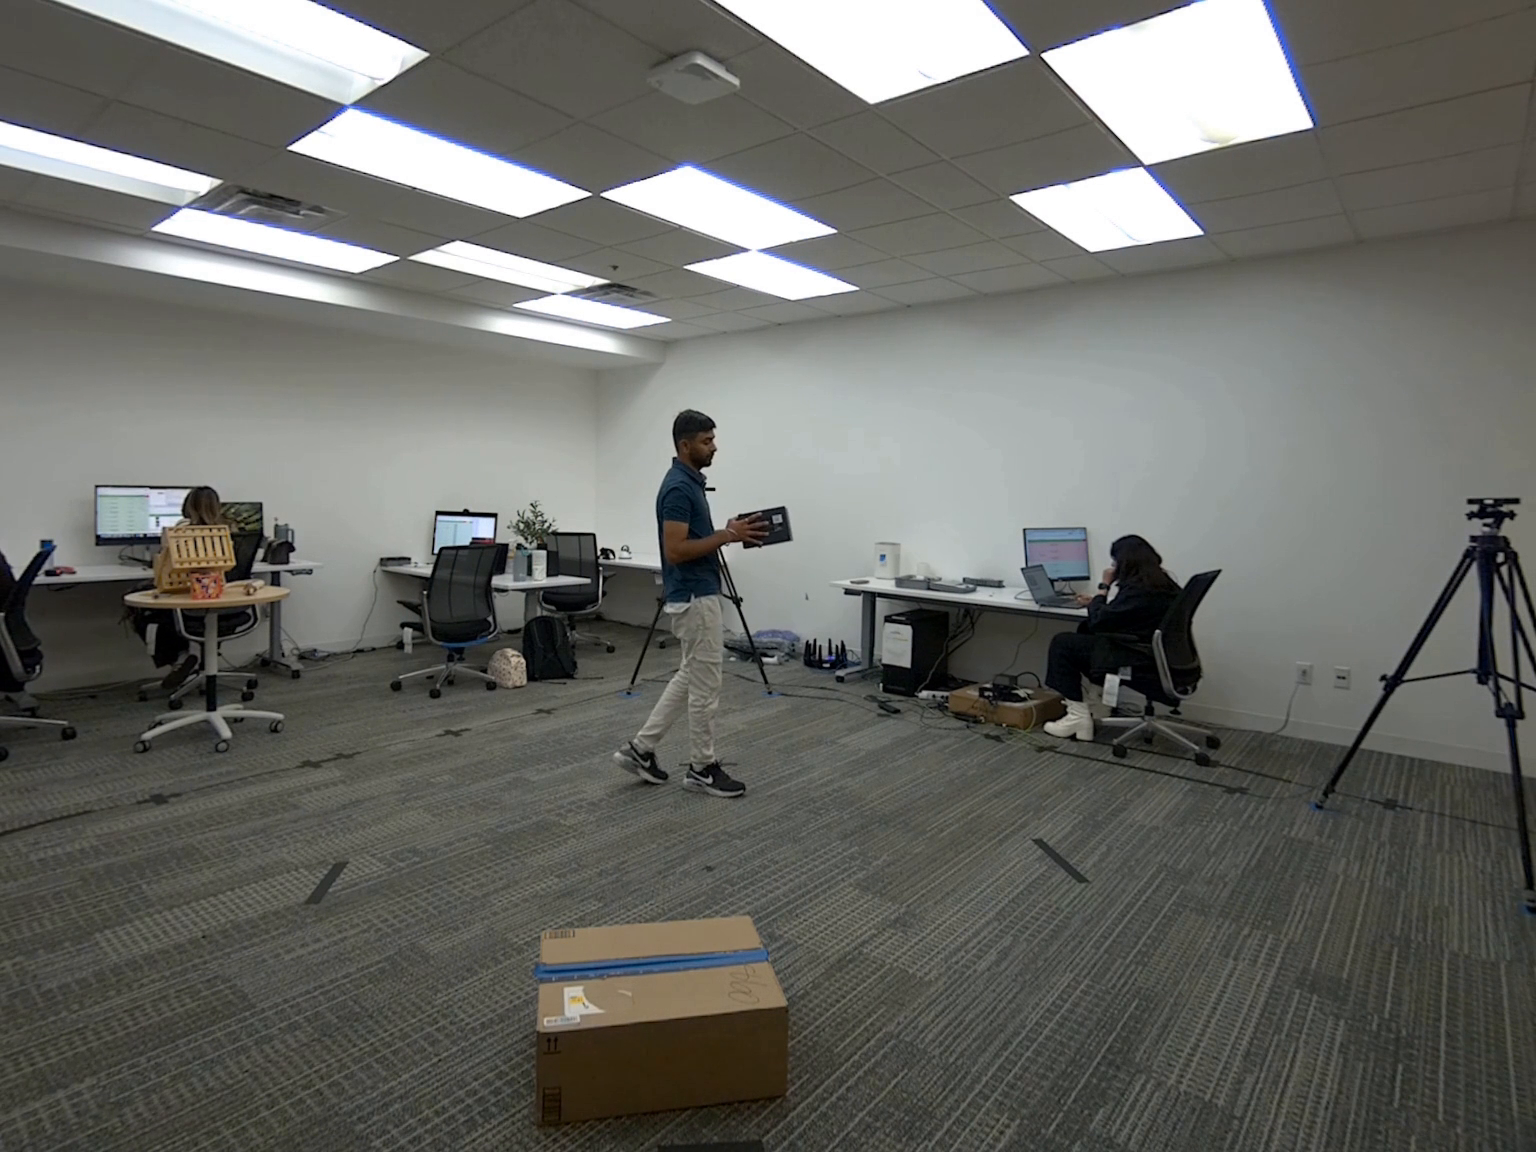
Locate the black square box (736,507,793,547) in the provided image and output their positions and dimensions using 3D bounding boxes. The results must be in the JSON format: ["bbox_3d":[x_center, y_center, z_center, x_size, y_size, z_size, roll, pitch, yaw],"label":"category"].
[{"bbox_3d":[-0.018,-0.225,3.876,0.219,0.156,0.225,-4,0,9],"label":"black square box"}]
